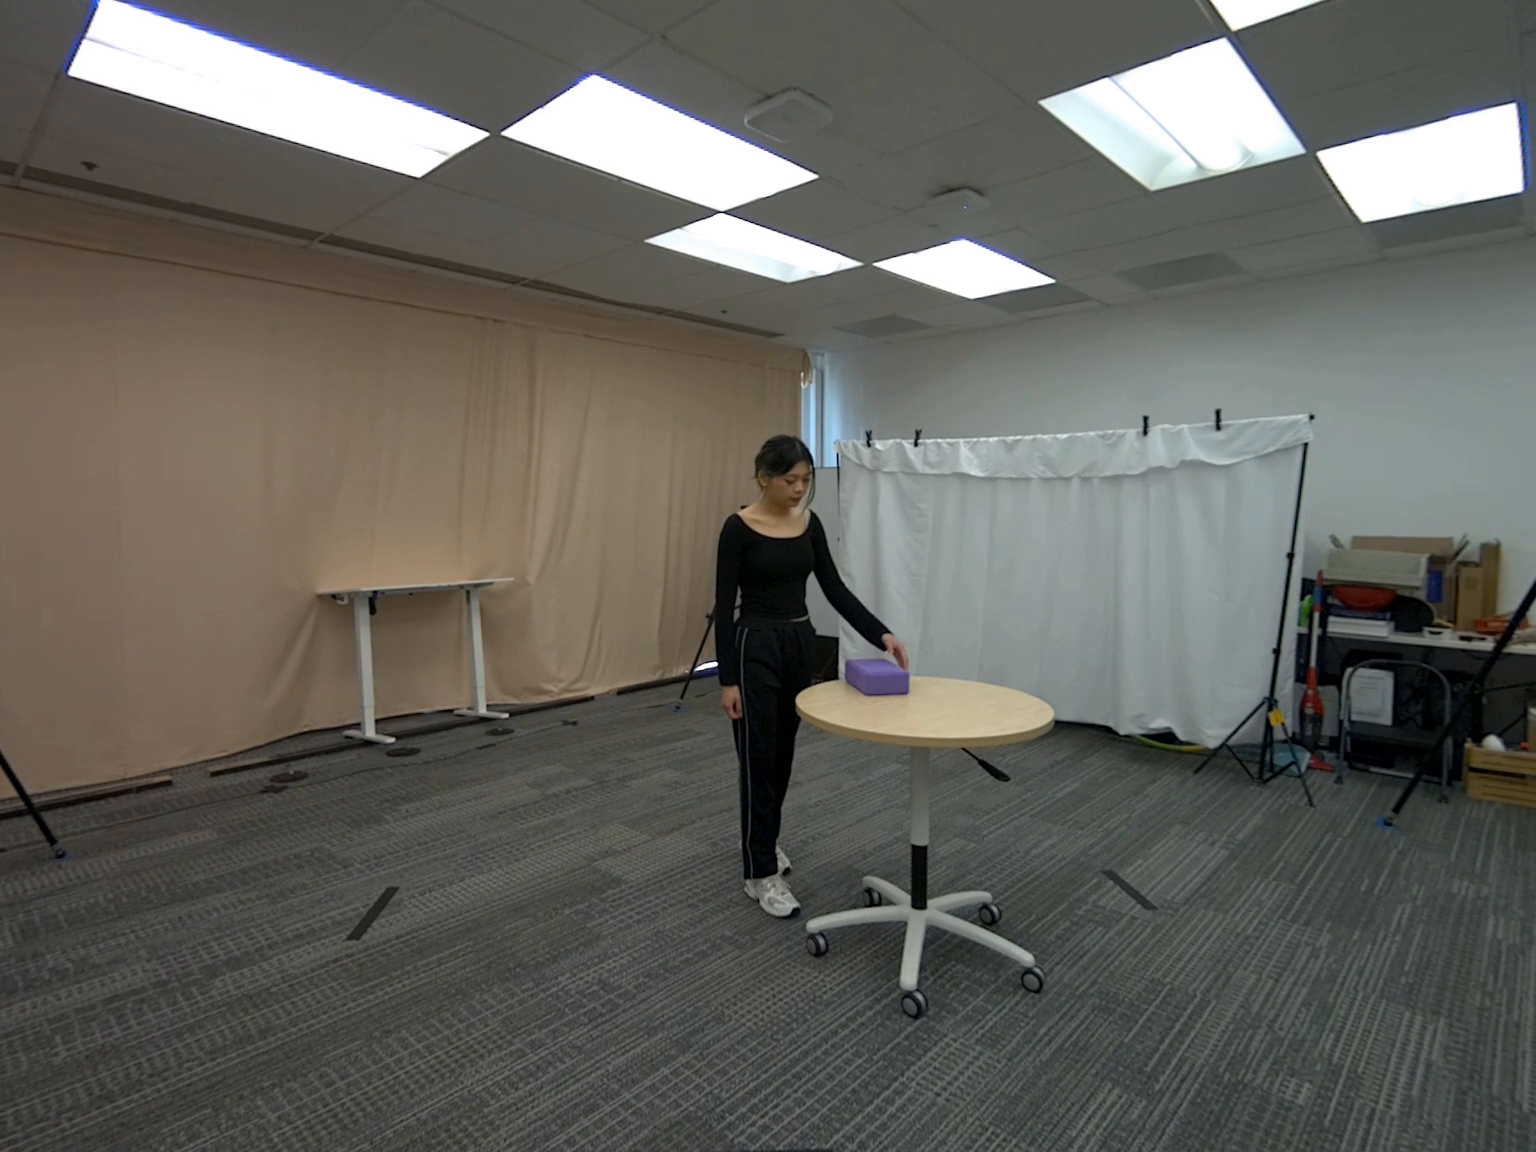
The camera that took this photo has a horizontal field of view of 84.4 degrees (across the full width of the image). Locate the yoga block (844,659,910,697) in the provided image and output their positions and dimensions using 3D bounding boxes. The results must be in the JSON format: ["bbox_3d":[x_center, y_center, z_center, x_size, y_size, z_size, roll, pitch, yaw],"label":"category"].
[{"bbox_3d":[0.363,0.334,2.782,0.148,0.076,0.231,-1,4,-8],"label":"yoga block"}]
